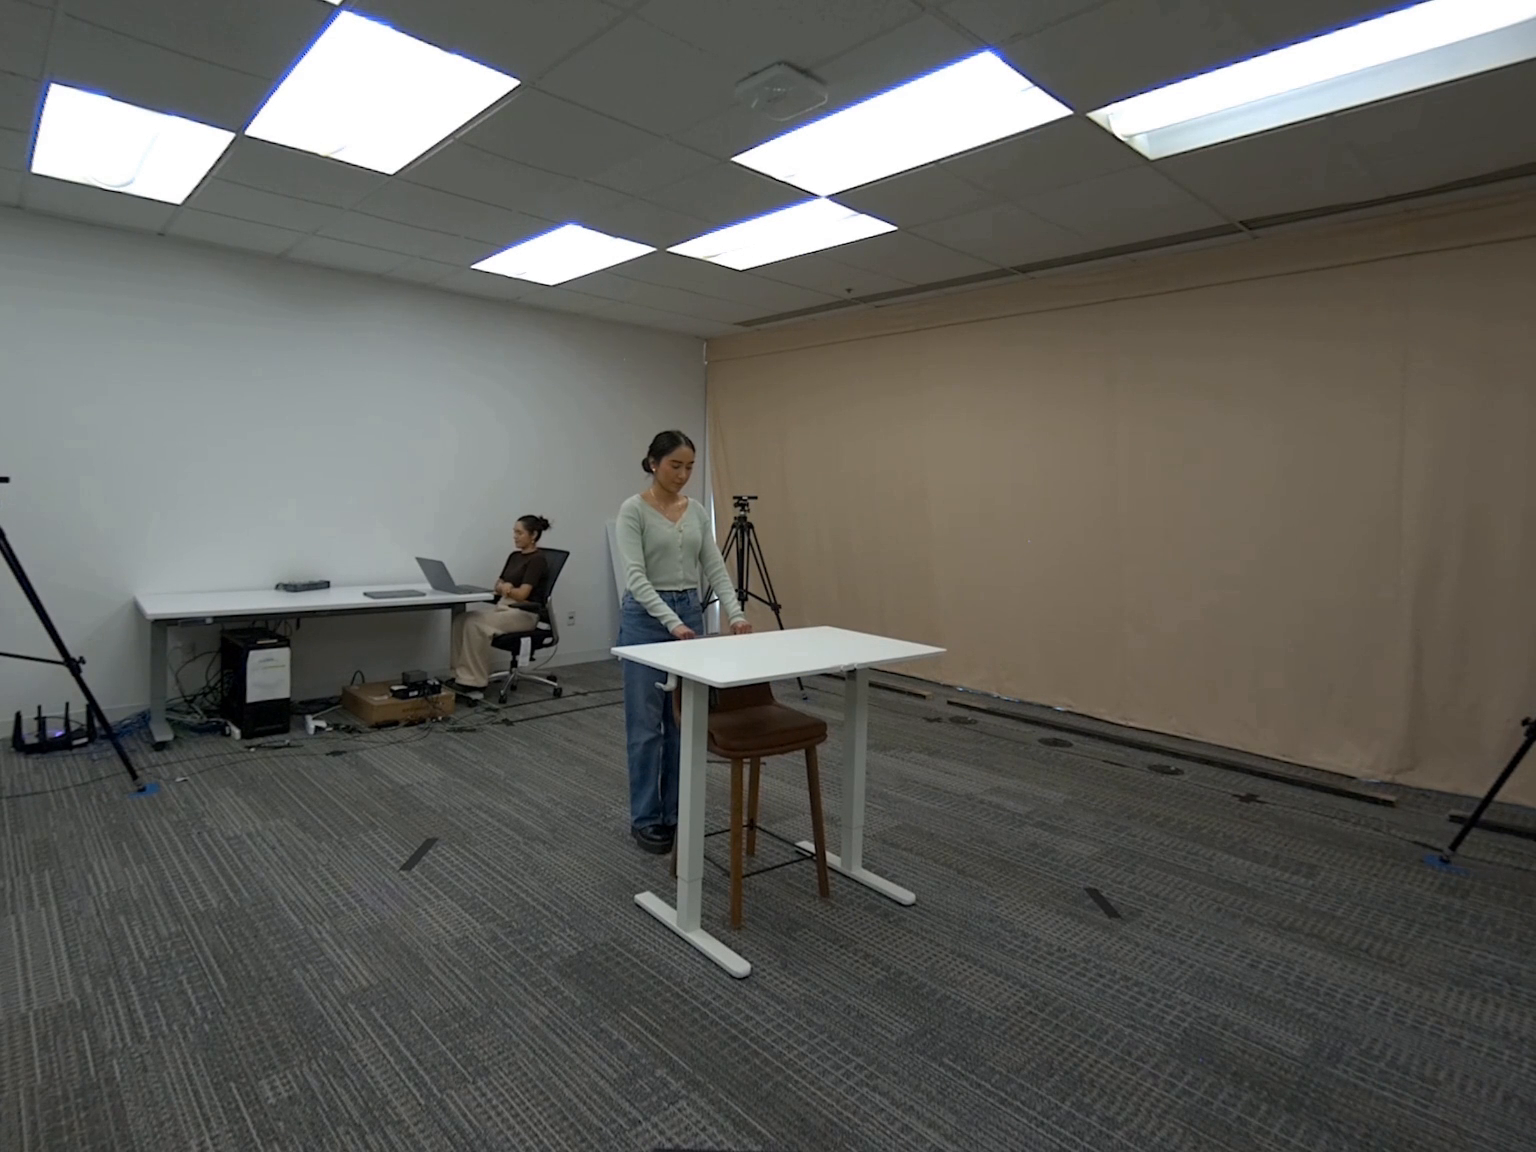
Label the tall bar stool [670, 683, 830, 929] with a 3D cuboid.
[{"bbox_3d":[-0.081,0.681,2.994,0.447,0.889,0.478,-2,2,-35],"label":"tall bar stool"}]
